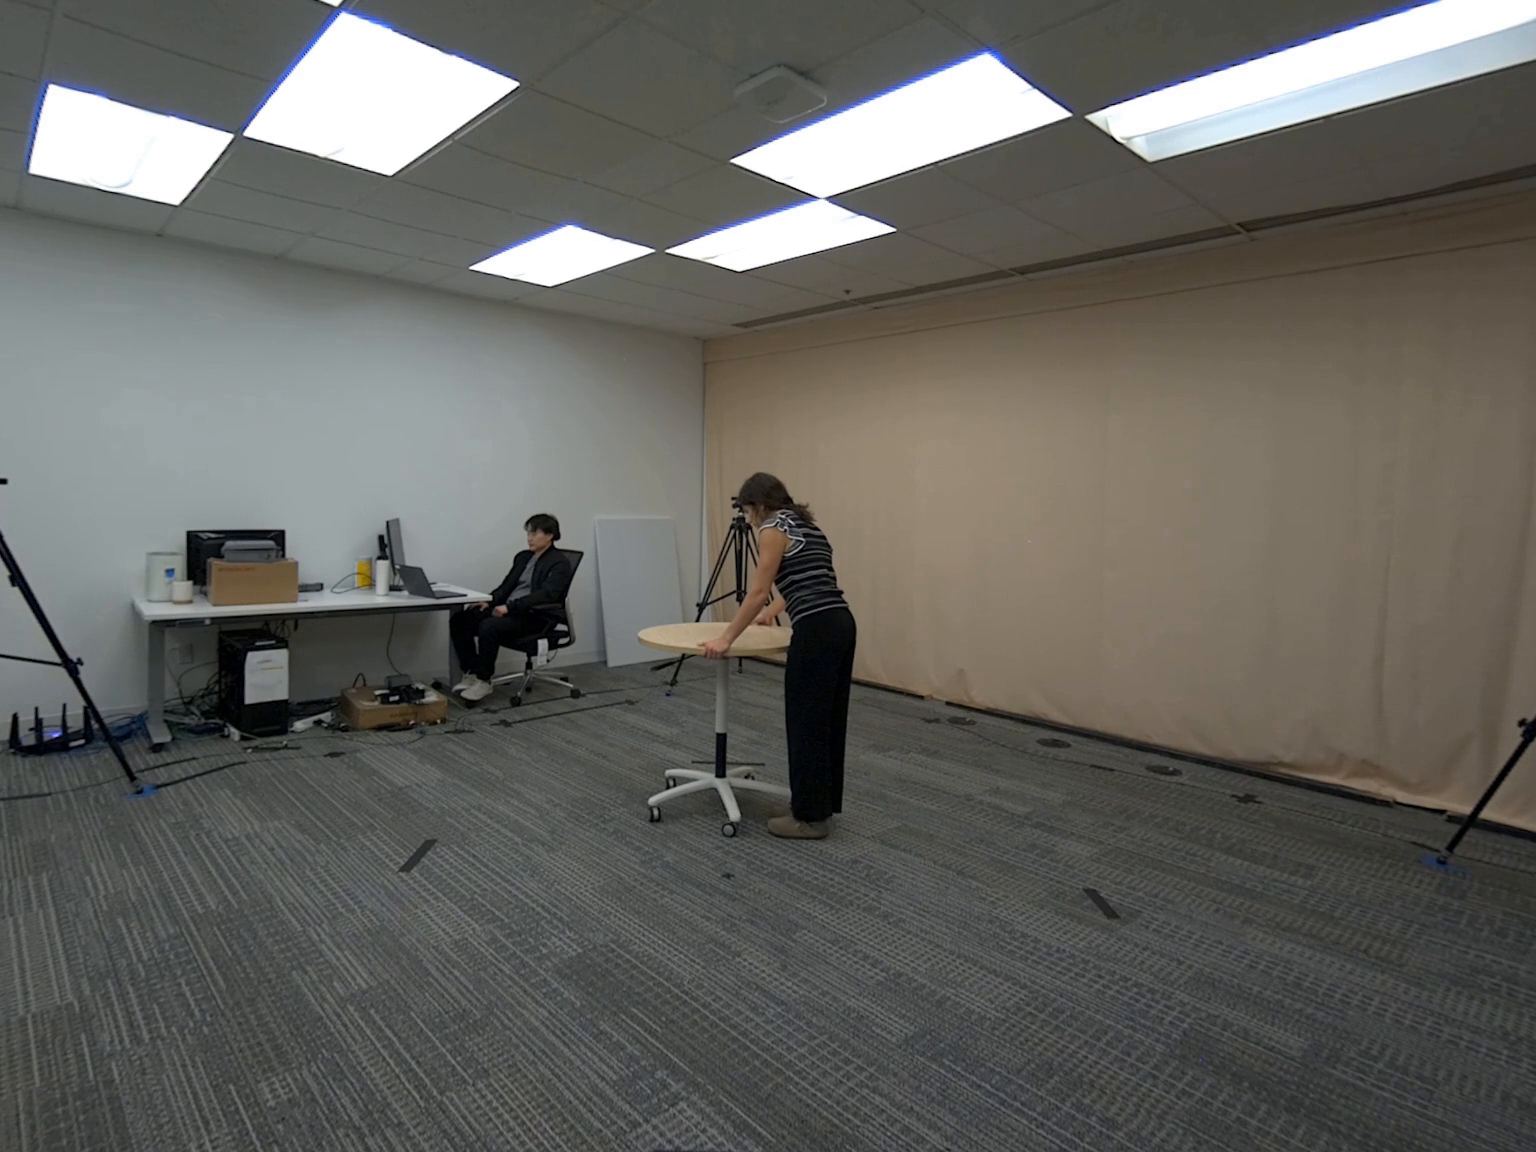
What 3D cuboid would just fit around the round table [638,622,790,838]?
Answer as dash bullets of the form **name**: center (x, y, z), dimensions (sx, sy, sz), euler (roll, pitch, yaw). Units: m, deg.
- **round table**: center (-0.228, 0.655, 3.784), dimensions (0.763, 0.792, 0.766), euler (2, 4, -1)
